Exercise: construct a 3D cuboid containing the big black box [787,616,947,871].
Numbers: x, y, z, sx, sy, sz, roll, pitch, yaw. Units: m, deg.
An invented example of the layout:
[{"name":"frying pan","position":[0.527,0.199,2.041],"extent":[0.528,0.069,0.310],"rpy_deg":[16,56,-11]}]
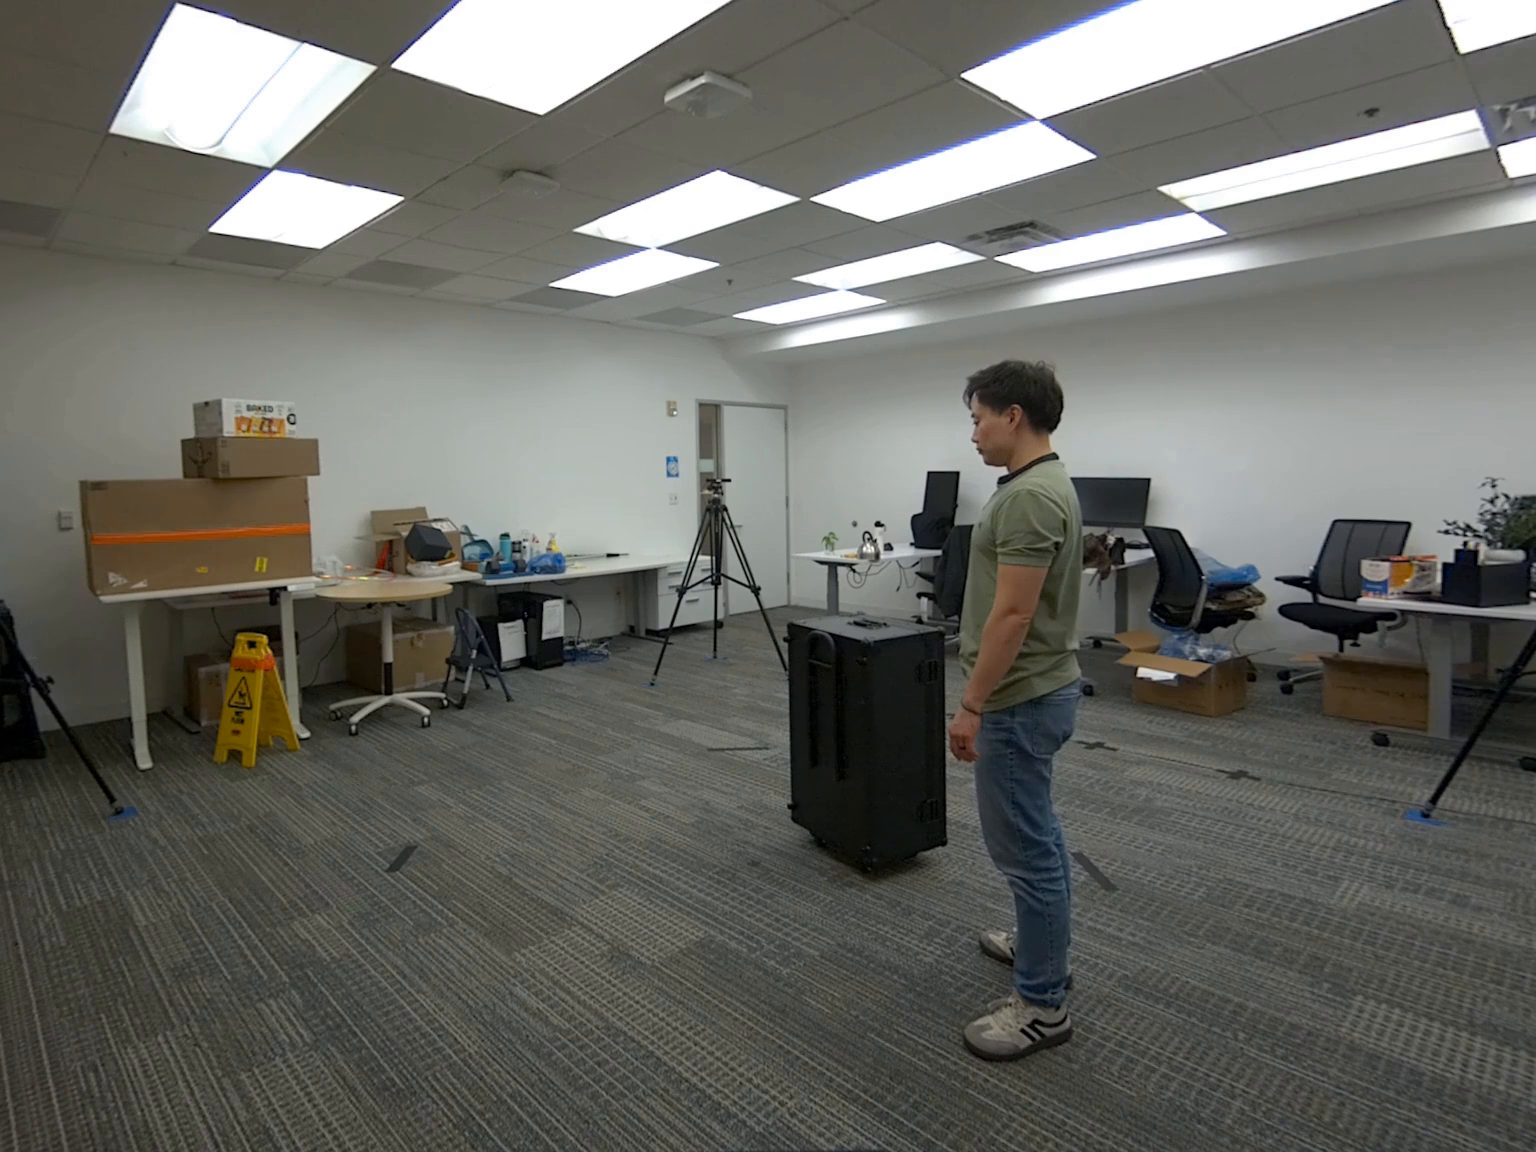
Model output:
[{"name":"big black box","position":[0.355,0.605,3.158],"extent":[0.387,0.858,0.536],"rpy_deg":[-4,5,-31]}]
